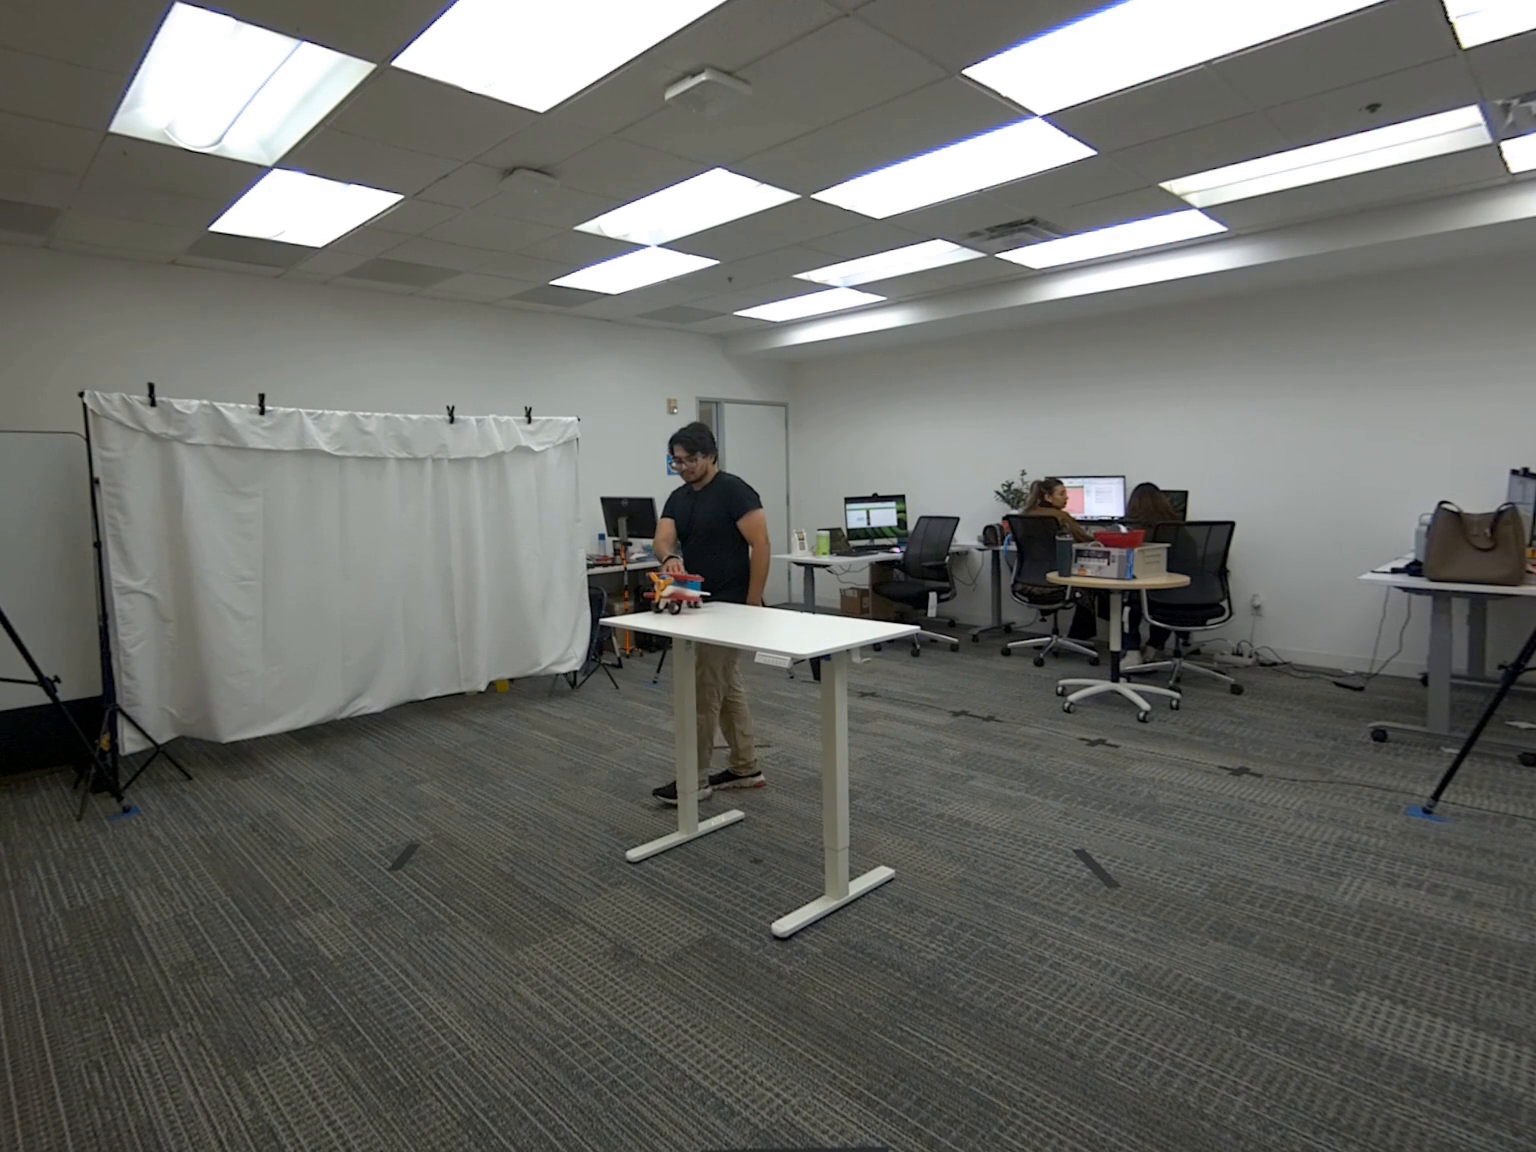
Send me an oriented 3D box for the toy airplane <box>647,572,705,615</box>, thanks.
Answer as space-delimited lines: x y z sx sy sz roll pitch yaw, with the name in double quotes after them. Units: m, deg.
-0.365 0.061 3.339 0.252 0.156 0.259 0 6 5 "toy airplane"
